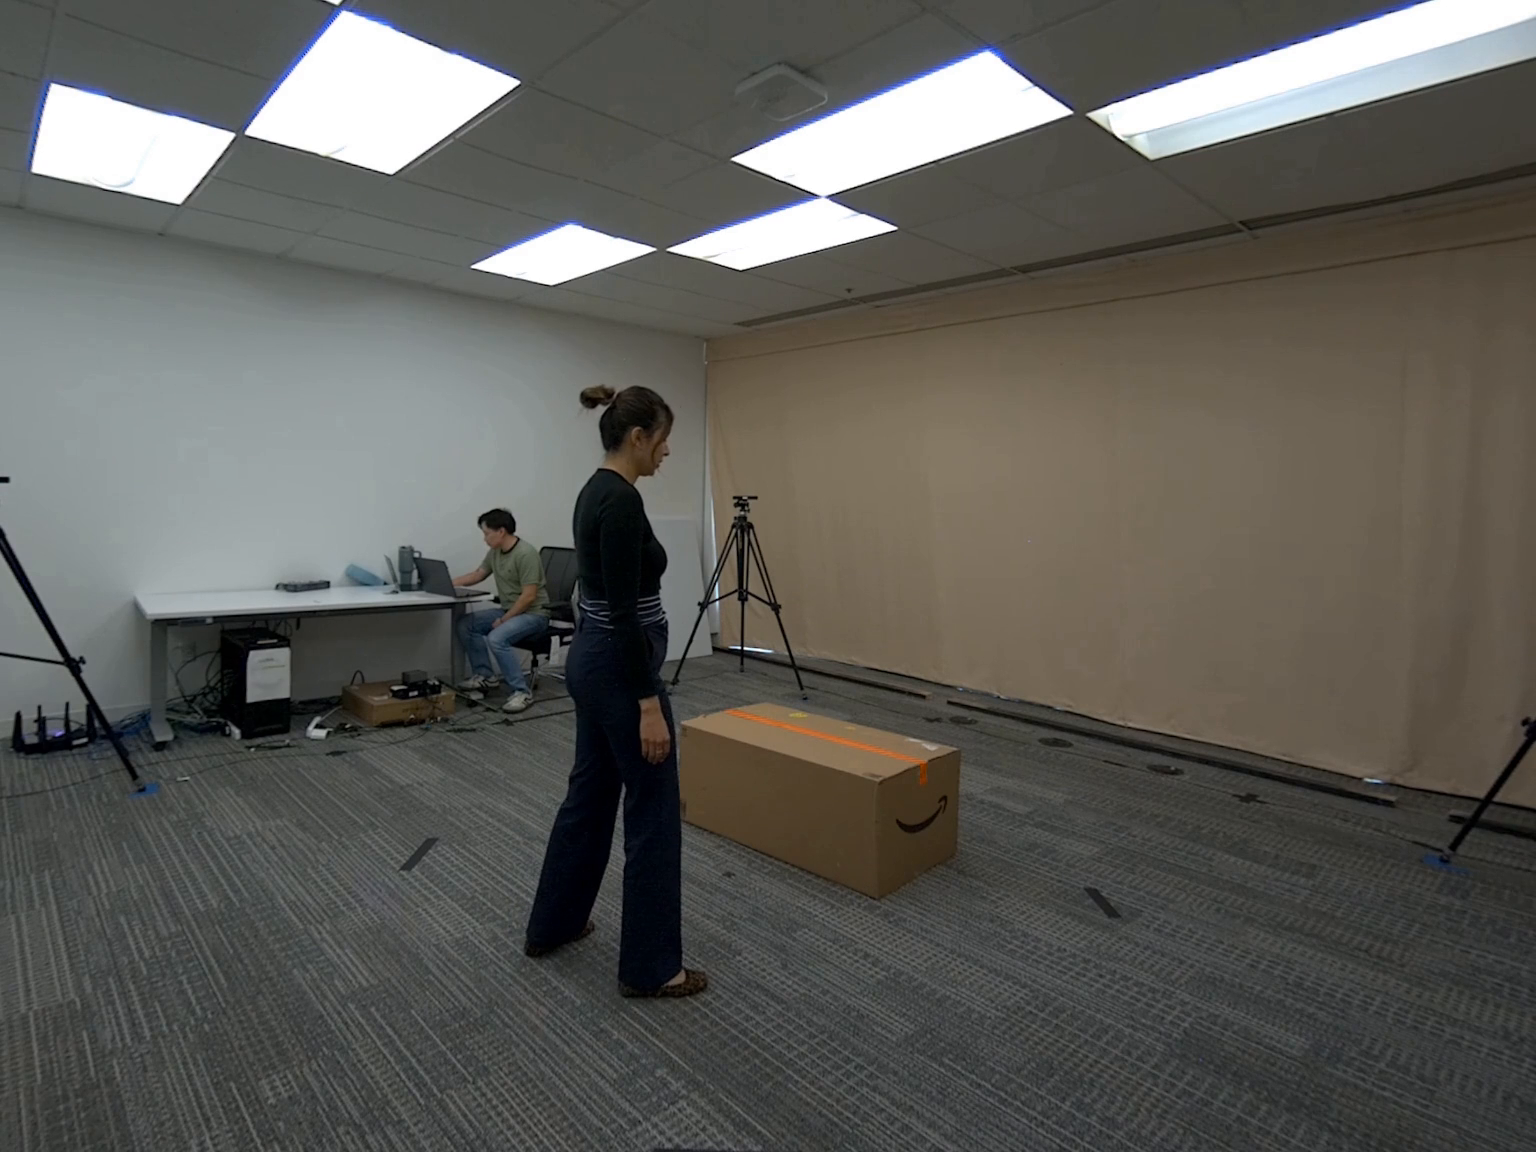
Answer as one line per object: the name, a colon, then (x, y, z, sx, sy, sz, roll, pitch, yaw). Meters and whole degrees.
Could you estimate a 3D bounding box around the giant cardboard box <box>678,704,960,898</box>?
giant cardboard box: (0.179, 0.864, 3.474, 1.052, 0.425, 0.564, 6, 5, 43)
